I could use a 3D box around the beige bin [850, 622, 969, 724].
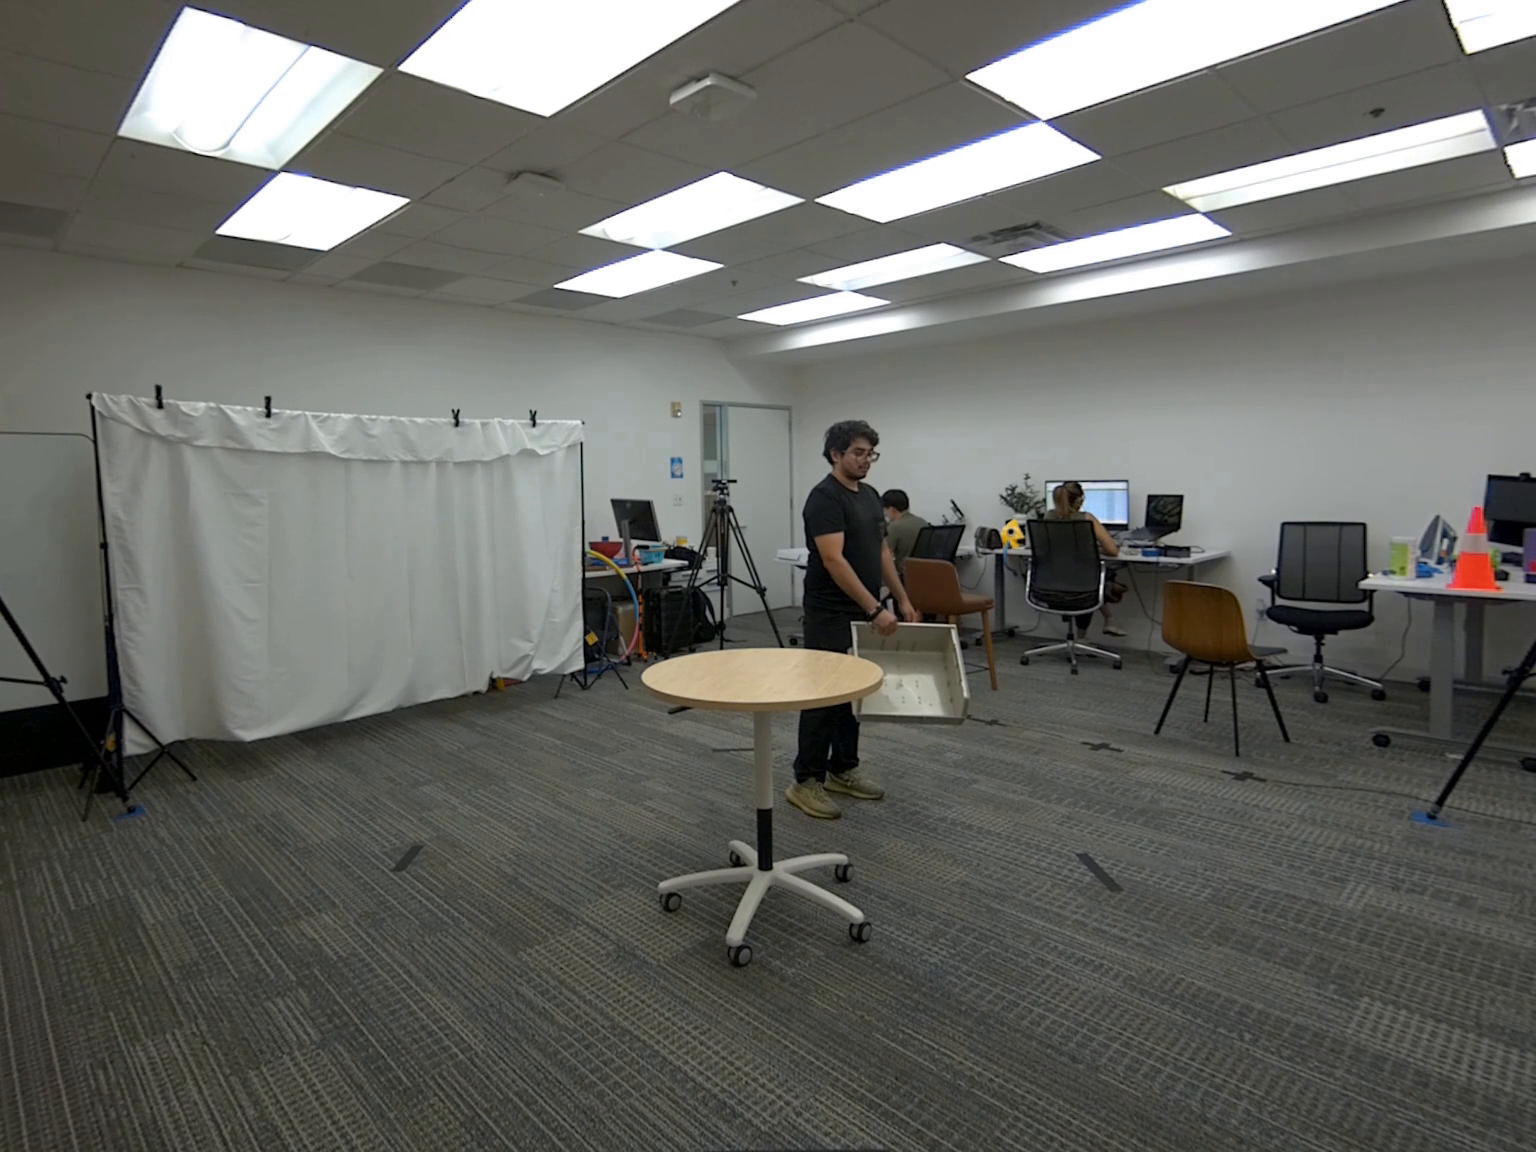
[{"bbox_3d":[0.547,0.391,3.385,0.423,0.184,0.387,0,48,0],"label":"beige bin"}]
